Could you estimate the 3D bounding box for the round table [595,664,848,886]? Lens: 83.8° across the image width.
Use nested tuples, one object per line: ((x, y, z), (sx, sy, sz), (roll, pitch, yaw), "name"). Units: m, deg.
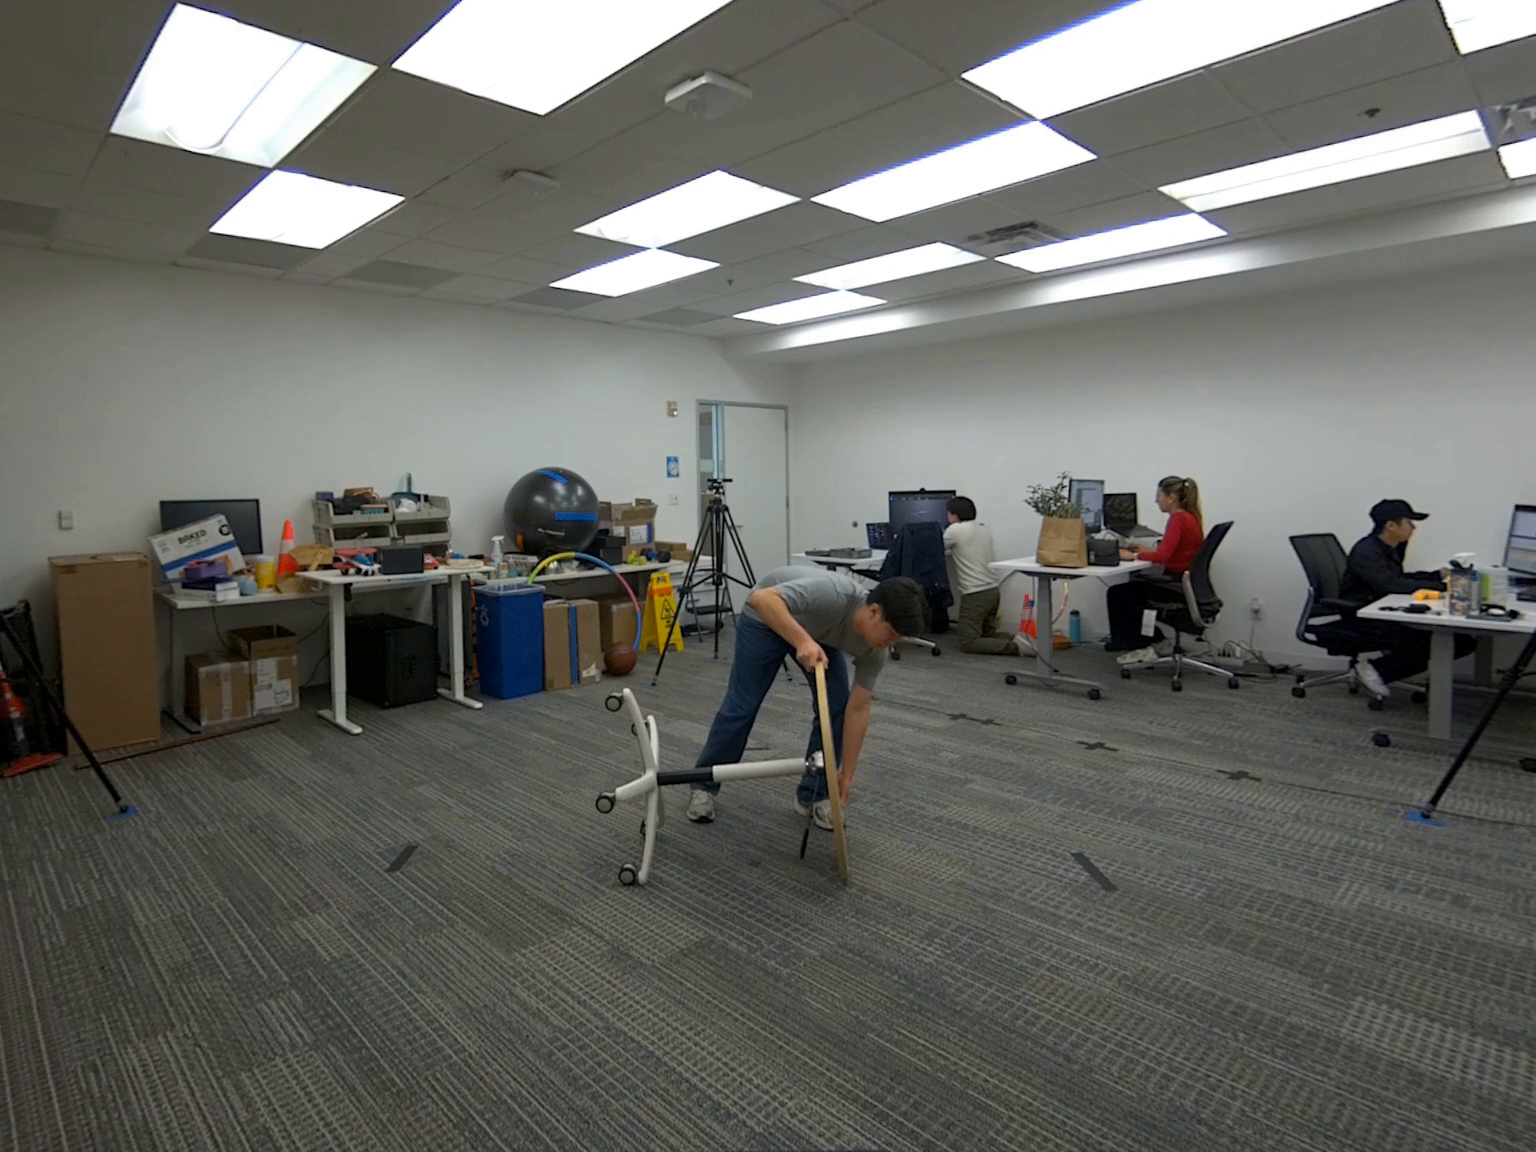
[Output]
((-0.152, 0.714, 3.072), (0.798, 0.761, 0.763), (-7, 4, 5), "round table")
